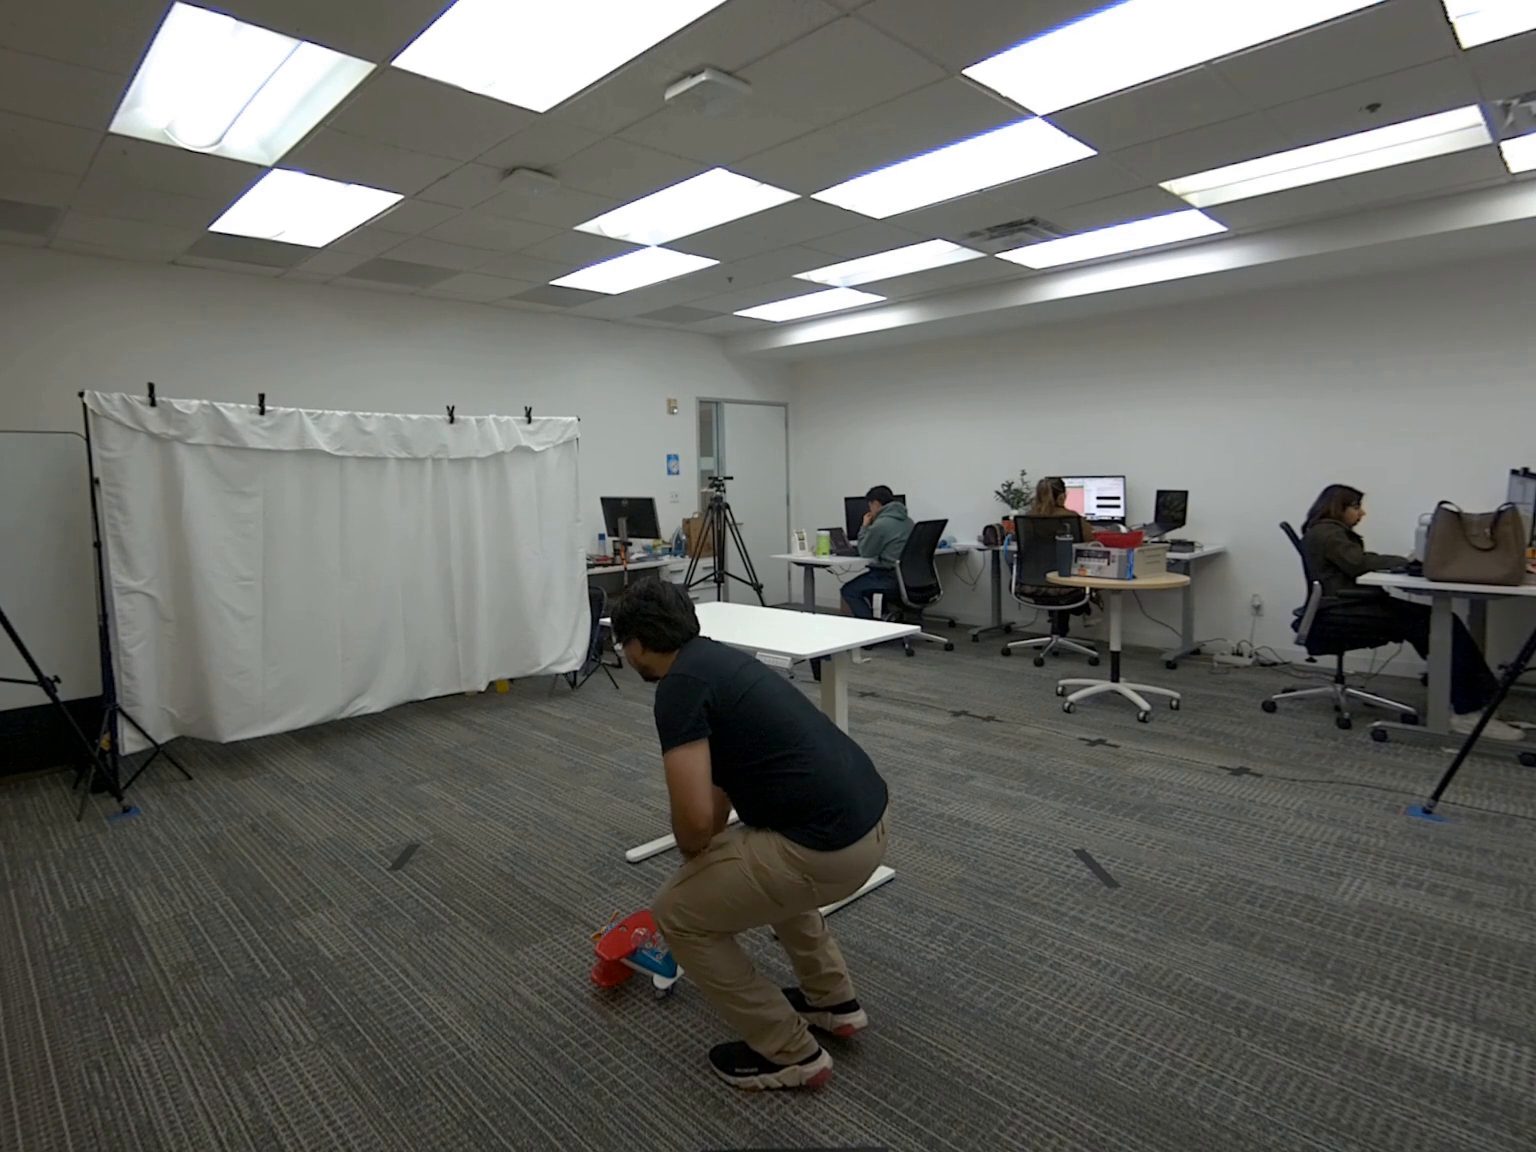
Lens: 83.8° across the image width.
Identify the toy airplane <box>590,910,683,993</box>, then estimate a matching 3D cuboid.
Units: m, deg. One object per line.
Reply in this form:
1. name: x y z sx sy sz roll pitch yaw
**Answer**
1. toy airplane: -0.350 1.058 2.382 0.260 0.155 0.252 -3 6 1
